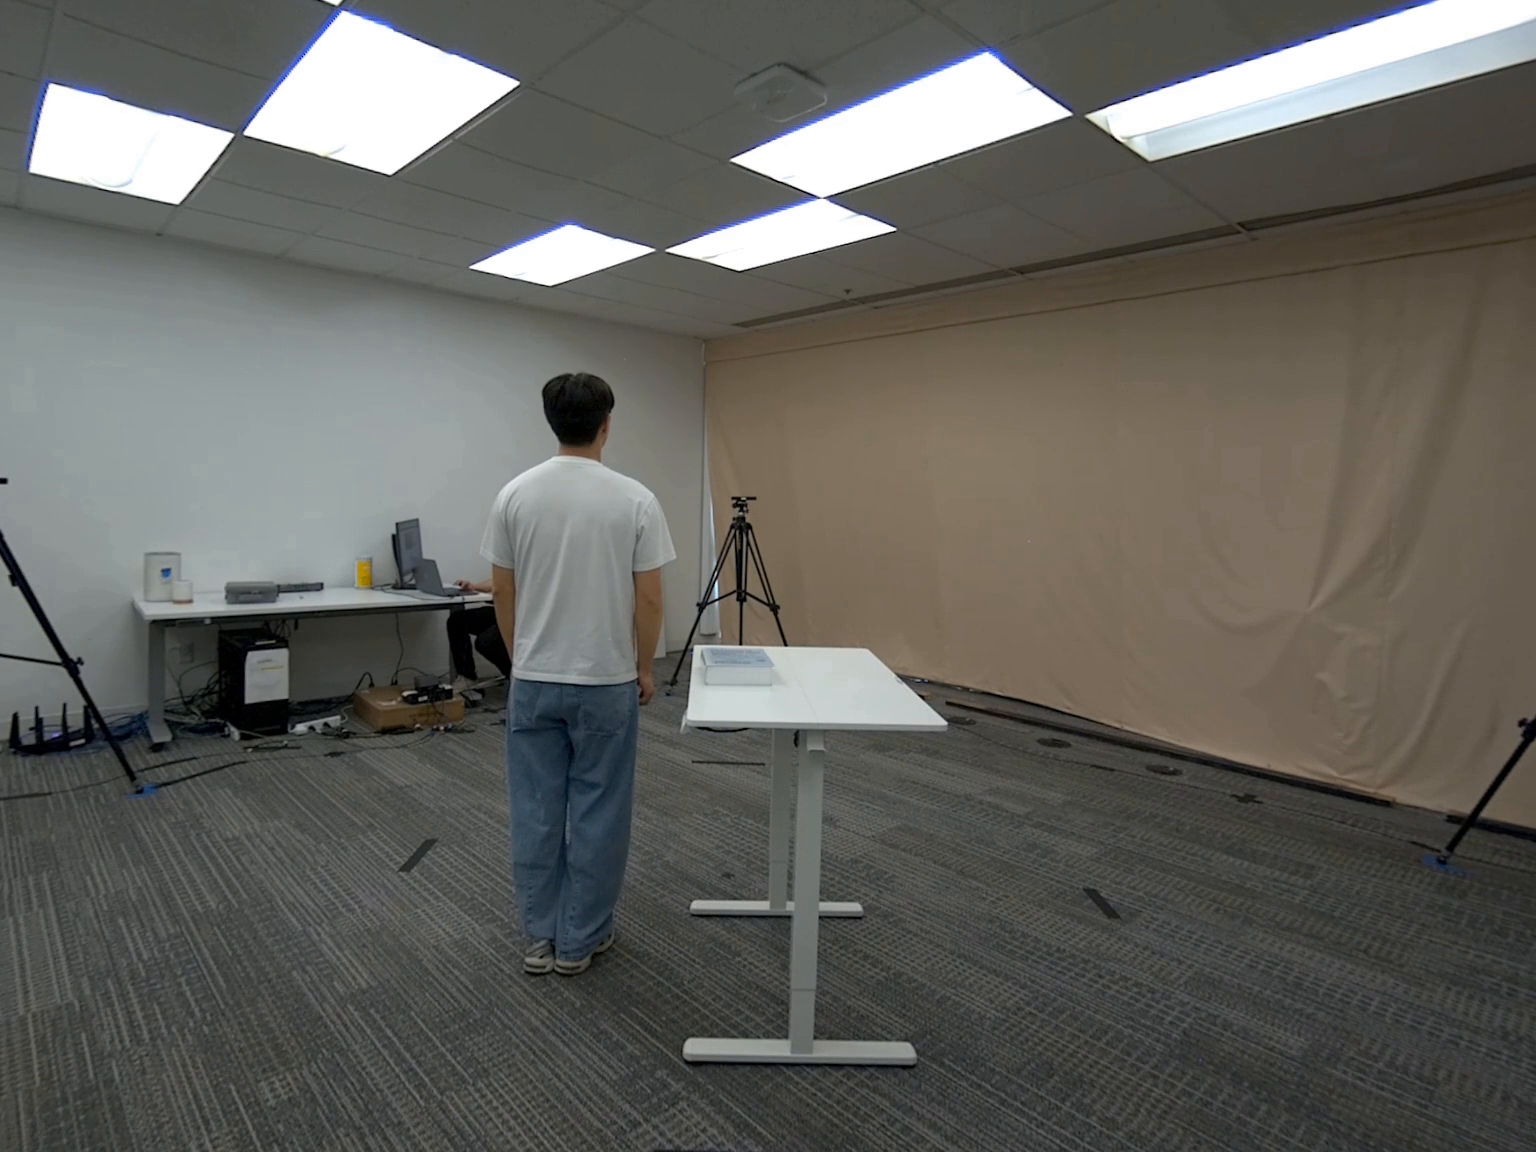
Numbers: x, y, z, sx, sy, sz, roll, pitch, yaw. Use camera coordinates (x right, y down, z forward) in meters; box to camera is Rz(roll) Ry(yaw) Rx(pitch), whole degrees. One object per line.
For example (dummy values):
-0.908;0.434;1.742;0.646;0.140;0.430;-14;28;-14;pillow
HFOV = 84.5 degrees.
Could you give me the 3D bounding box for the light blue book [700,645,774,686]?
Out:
-0.104;0.265;2.378;0.190;0.059;0.263;1;5;-7;light blue book
